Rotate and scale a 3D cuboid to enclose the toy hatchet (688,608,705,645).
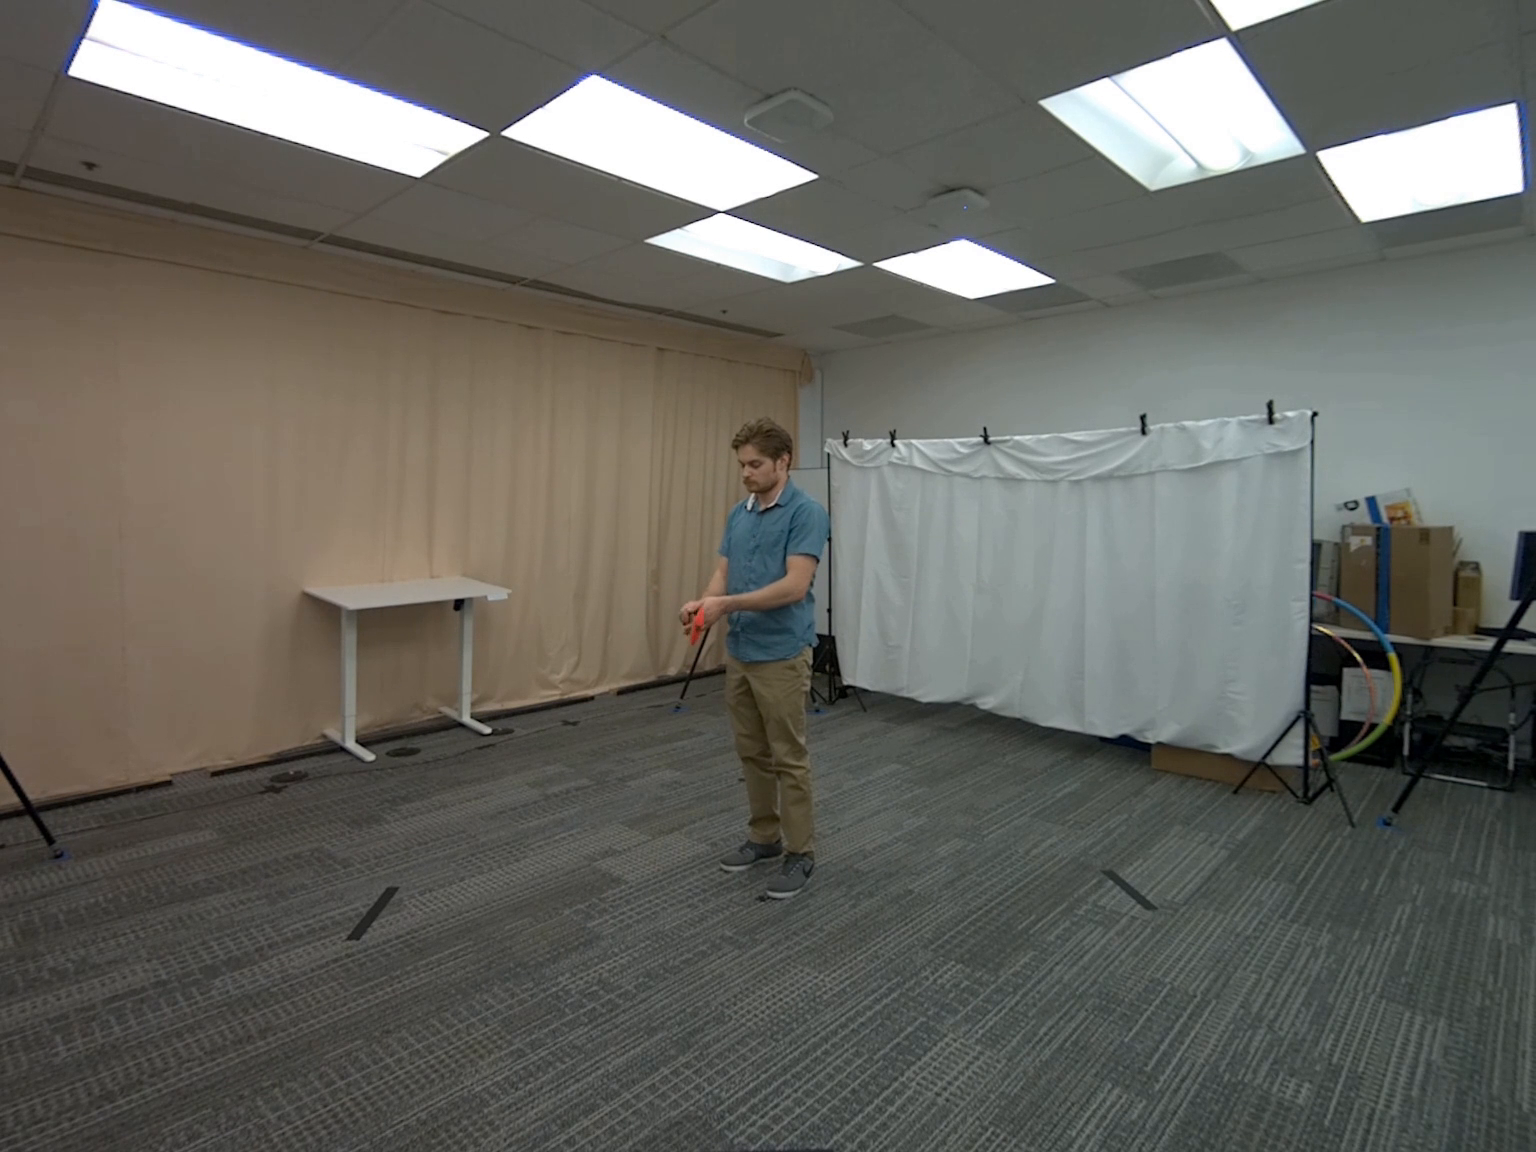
[{"bbox_3d":[-0.269,0.176,2.888,0.029,0.132,0.270,5,-10,-7],"label":"toy hatchet"}]
